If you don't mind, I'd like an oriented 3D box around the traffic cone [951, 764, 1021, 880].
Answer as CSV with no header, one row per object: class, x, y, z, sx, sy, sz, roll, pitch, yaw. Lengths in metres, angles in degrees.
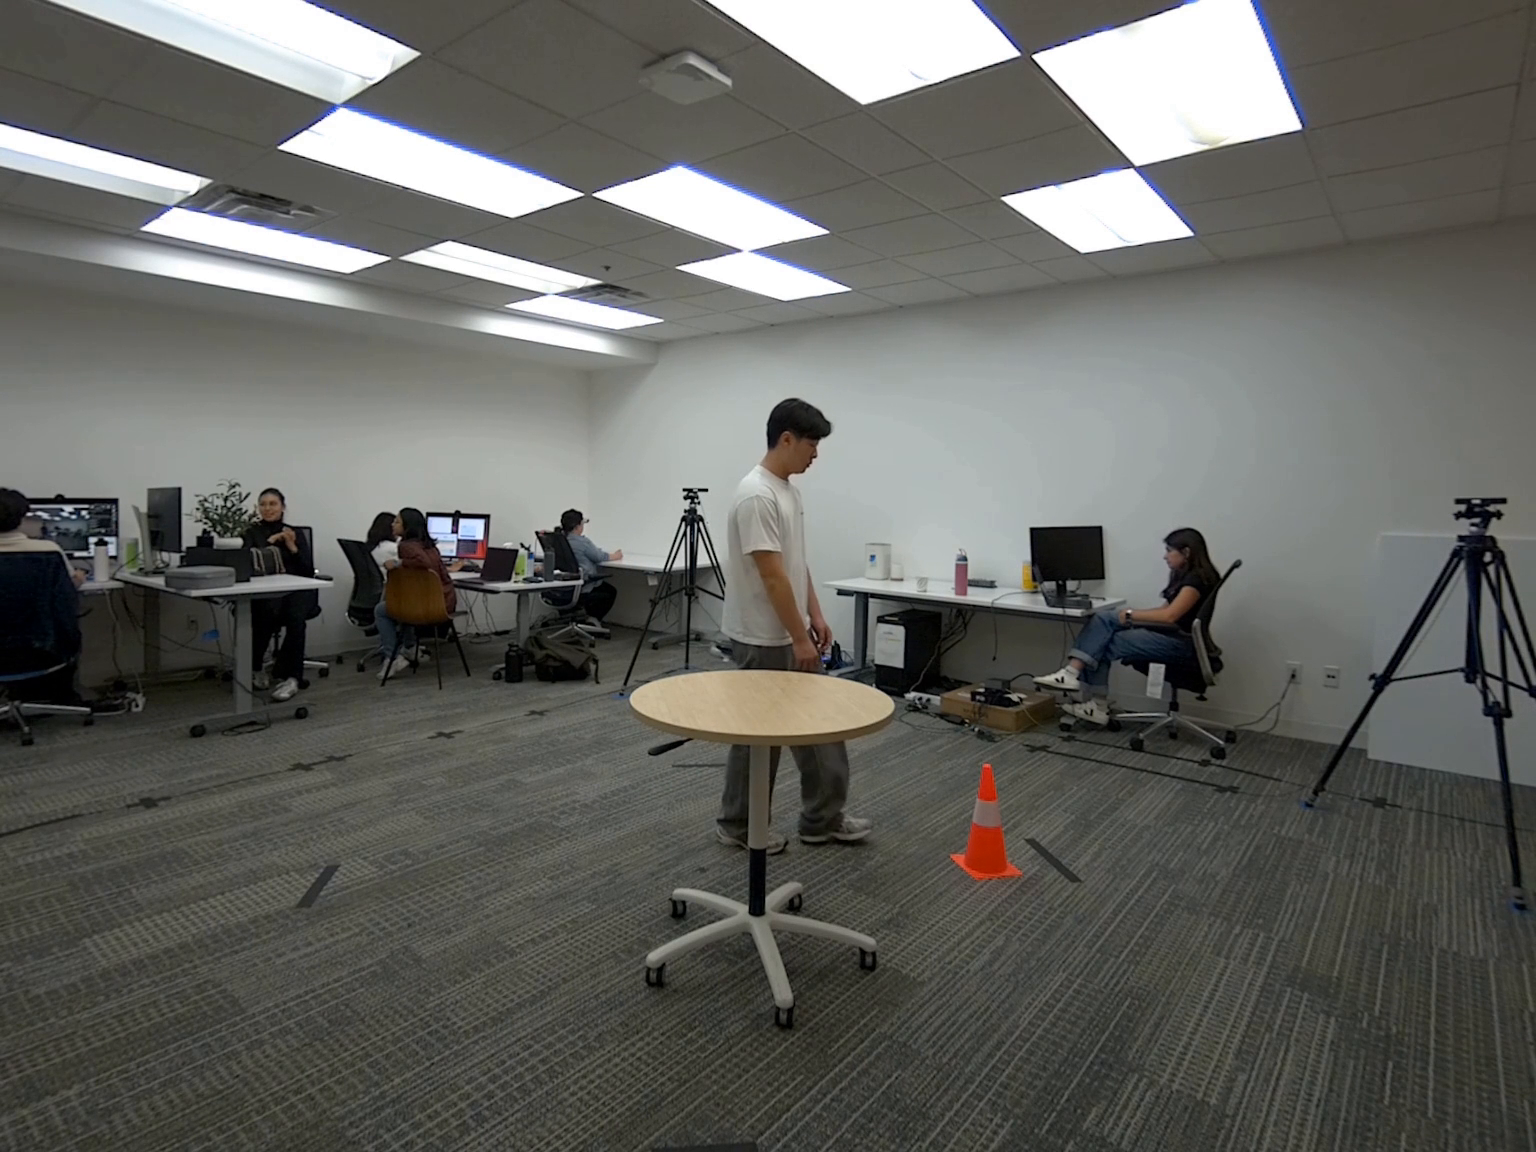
traffic cone,0.836,0.895,3.193,0.202,0.382,0.207,1,4,-15
